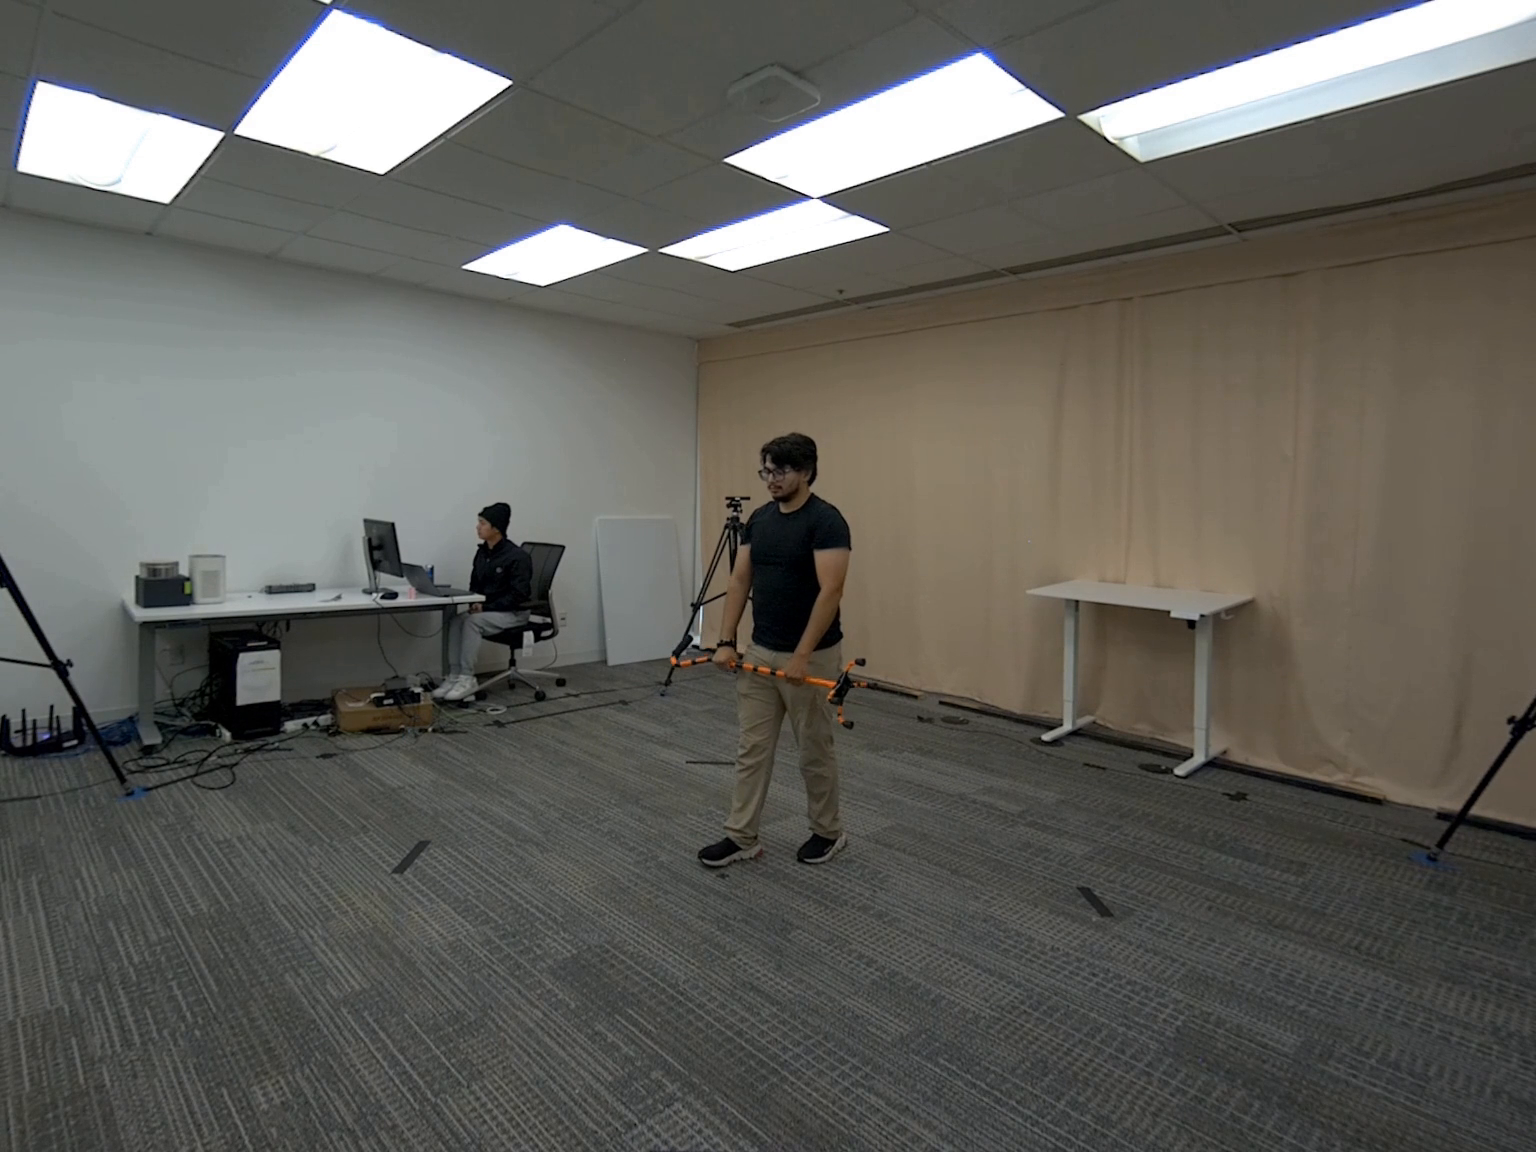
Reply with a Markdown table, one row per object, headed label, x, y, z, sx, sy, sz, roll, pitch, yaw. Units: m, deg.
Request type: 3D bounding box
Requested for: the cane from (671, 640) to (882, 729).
| label | x | y | z | sx | sy | sz | roll | pitch | yaw |
| --- | --- | --- | --- | --- | --- | --- | --- | --- | --- |
| cane | -0.058 | 0.367 | 3.153 | 0.931 | 0.147 | 0.206 | 6 | 45 | 43 |
